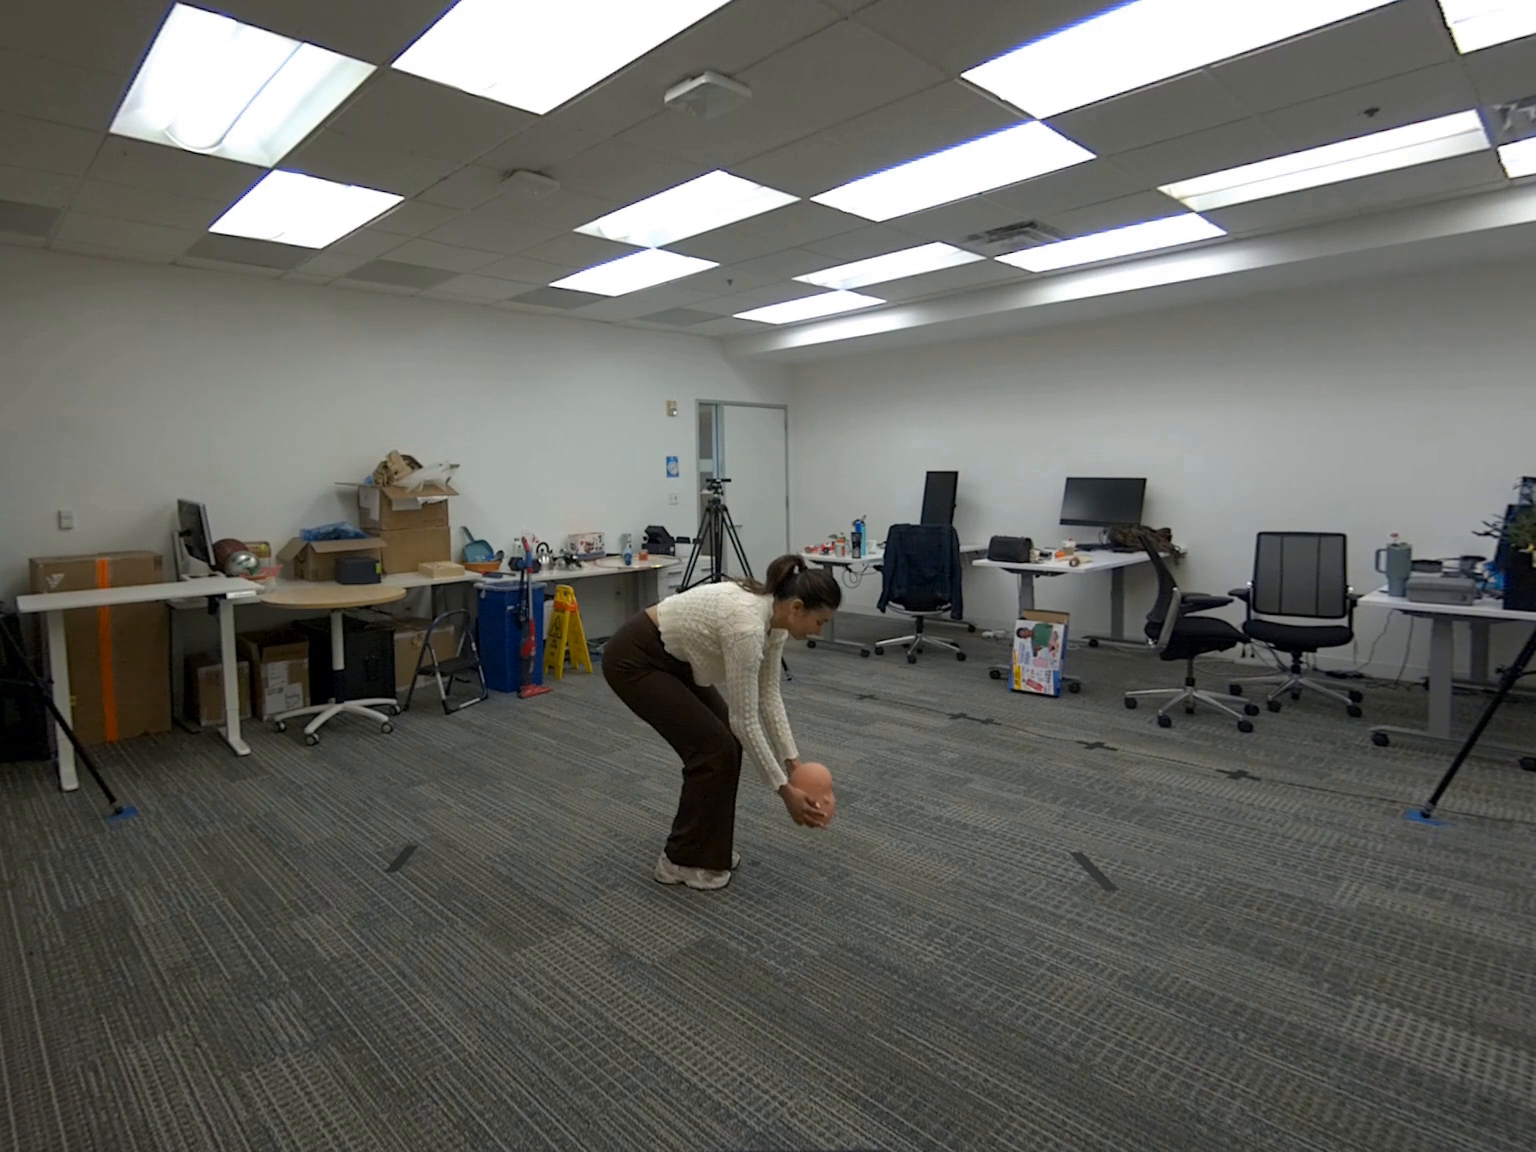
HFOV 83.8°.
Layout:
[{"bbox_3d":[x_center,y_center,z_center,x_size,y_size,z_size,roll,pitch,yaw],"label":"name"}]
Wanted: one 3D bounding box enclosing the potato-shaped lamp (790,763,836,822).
[{"bbox_3d":[0.148,0.729,2.901,0.173,0.198,0.163,11,0,10],"label":"potato-shaped lamp"}]
